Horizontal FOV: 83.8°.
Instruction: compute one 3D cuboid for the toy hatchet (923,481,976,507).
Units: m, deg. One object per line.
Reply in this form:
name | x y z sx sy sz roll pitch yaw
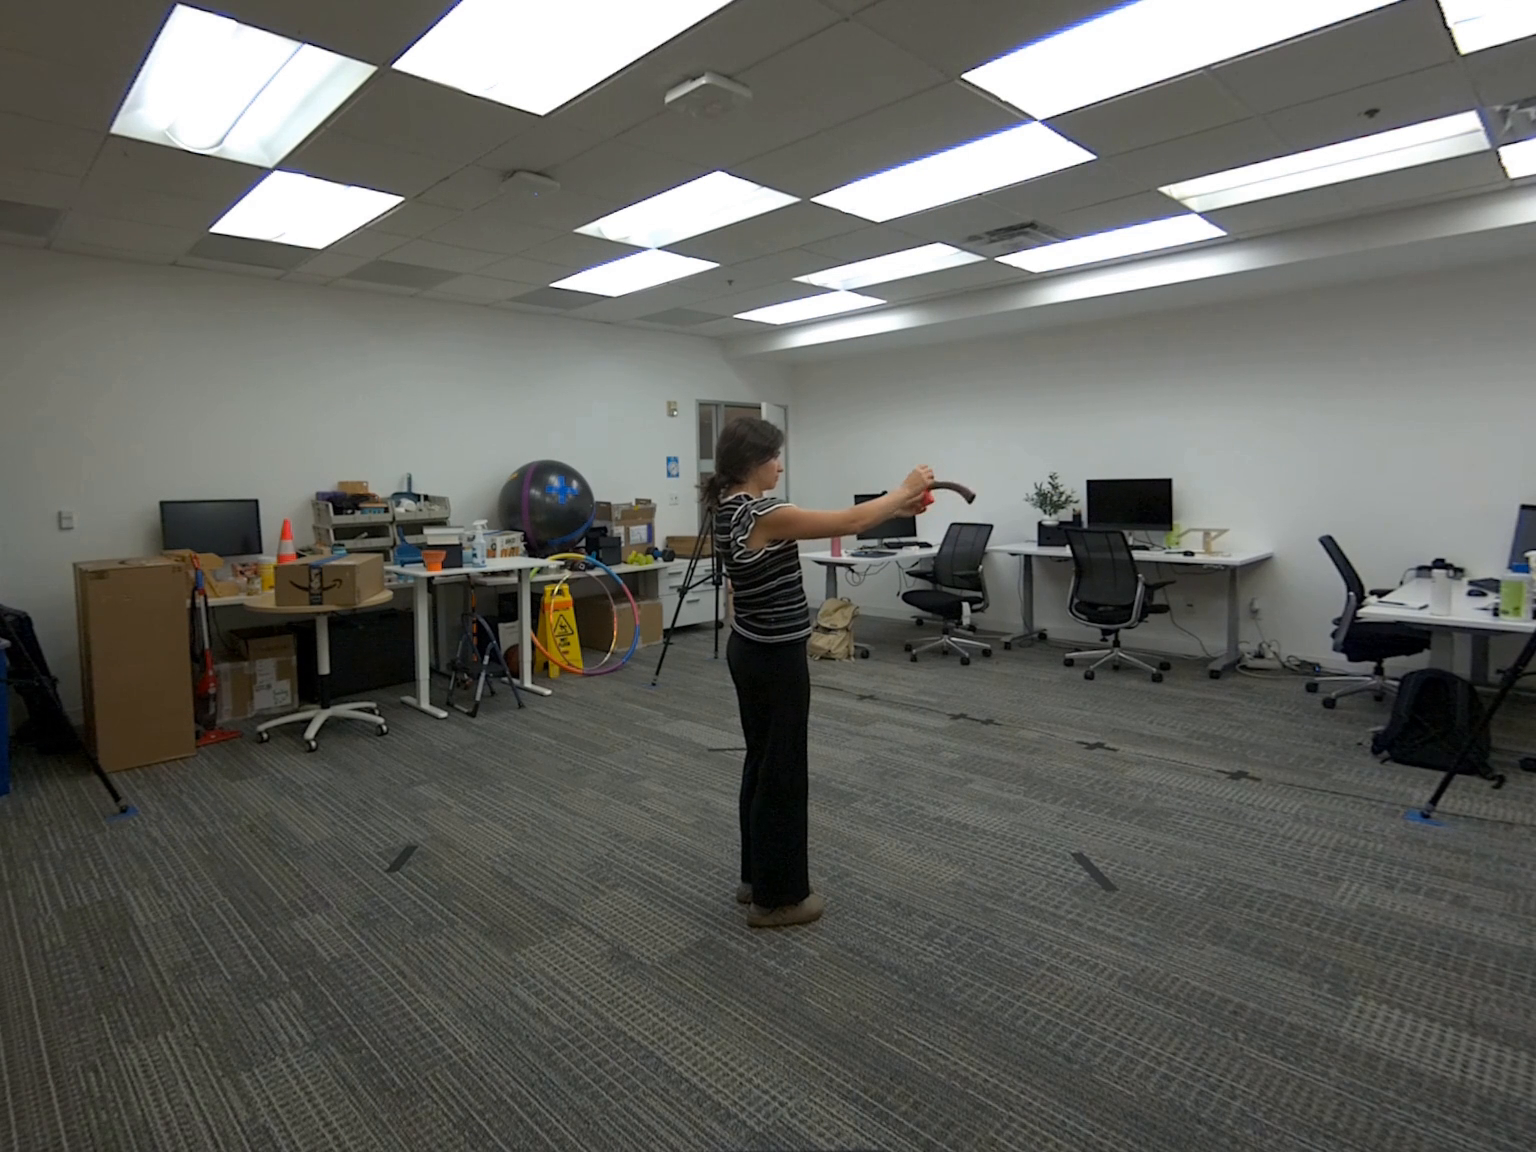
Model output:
toy hatchet | 0.566 -0.253 2.740 0.029 0.130 0.280 8 21 -26
